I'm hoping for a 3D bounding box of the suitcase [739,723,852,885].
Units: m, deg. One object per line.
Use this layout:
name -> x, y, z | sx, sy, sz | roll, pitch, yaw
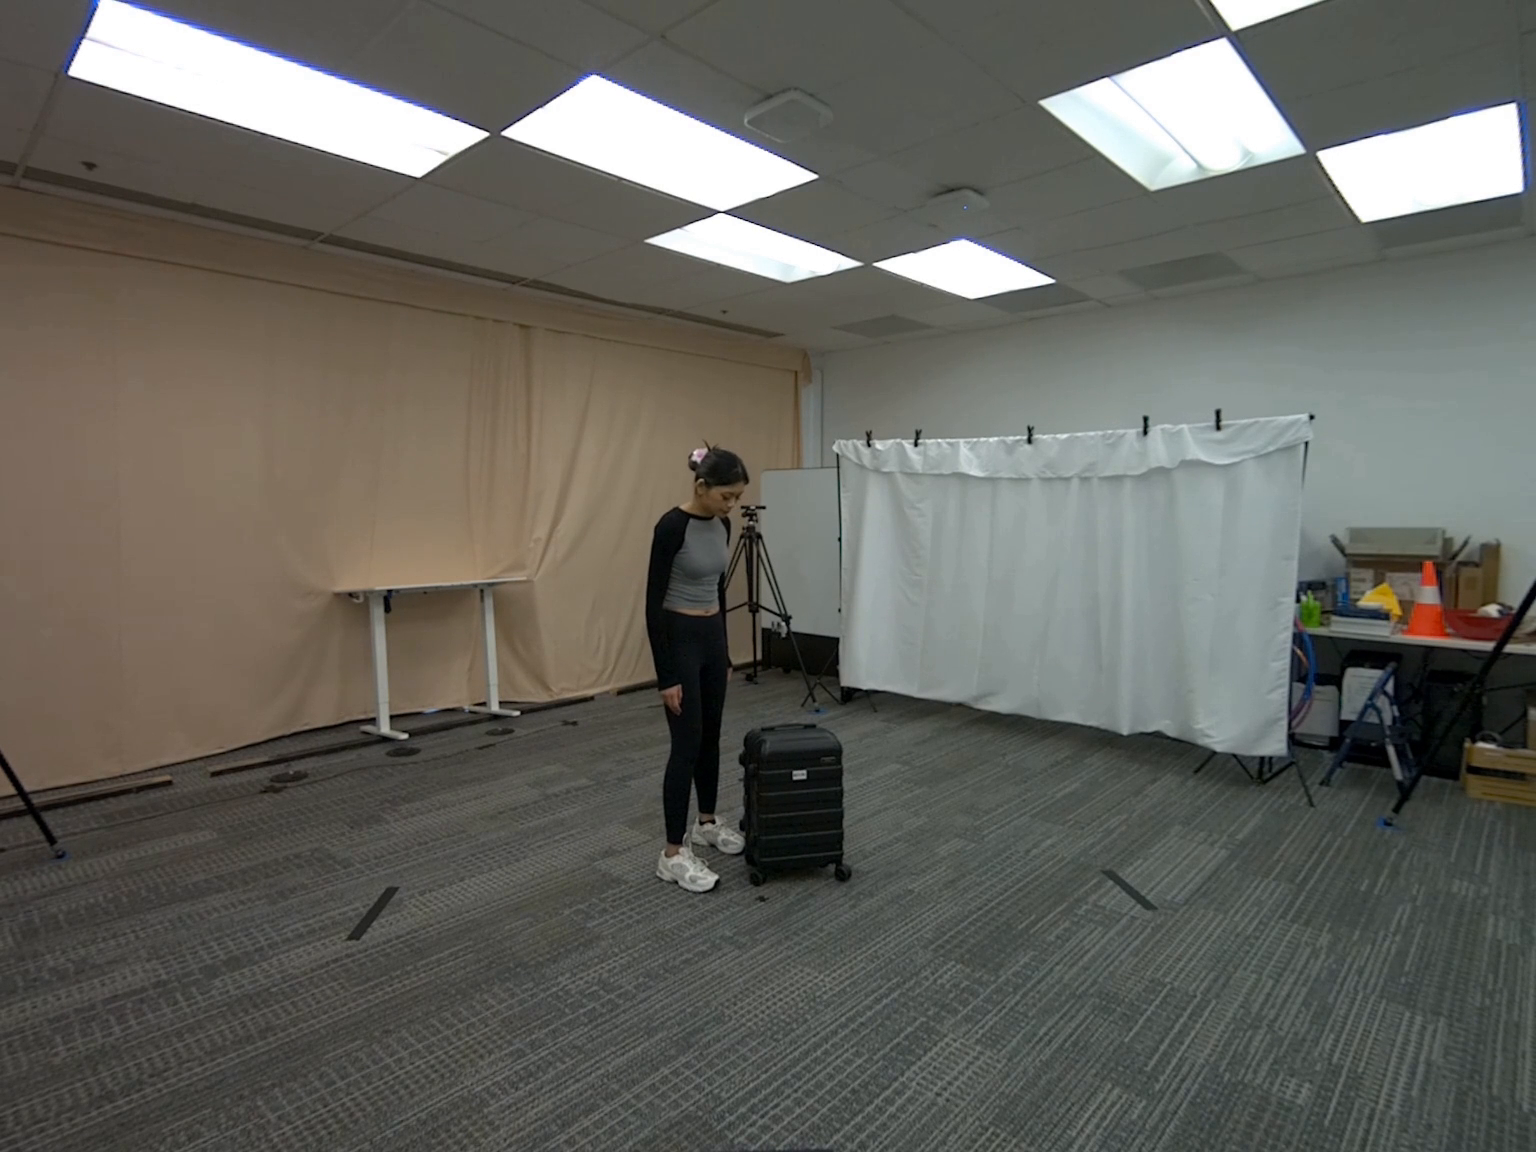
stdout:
suitcase -> 0.097, 0.846, 3.197 | 0.370, 0.548, 0.252 | 0, 4, -13
